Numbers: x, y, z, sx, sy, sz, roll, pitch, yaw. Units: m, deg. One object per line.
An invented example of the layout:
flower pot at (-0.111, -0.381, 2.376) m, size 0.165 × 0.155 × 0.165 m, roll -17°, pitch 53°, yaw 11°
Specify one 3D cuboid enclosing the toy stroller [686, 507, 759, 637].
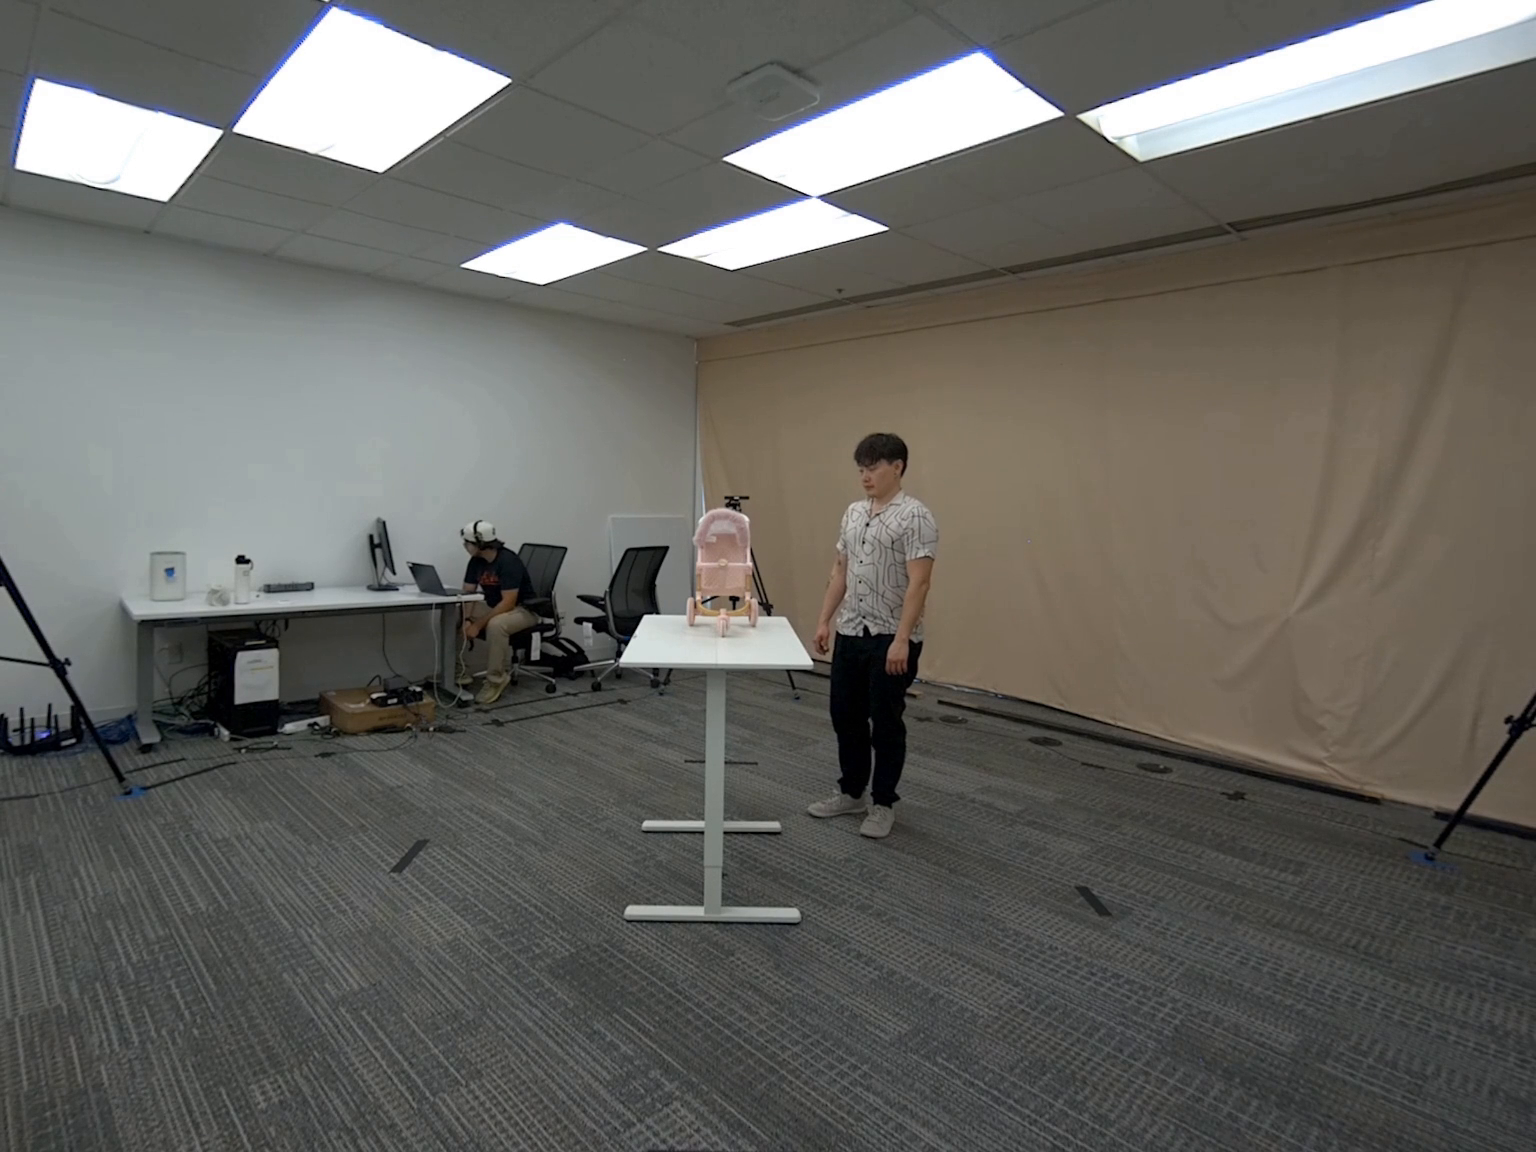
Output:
toy stroller at (-0.179, -0.018, 3.253) m, size 0.282 × 0.539 × 0.338 m, roll 0°, pitch -11°, yaw 1°
